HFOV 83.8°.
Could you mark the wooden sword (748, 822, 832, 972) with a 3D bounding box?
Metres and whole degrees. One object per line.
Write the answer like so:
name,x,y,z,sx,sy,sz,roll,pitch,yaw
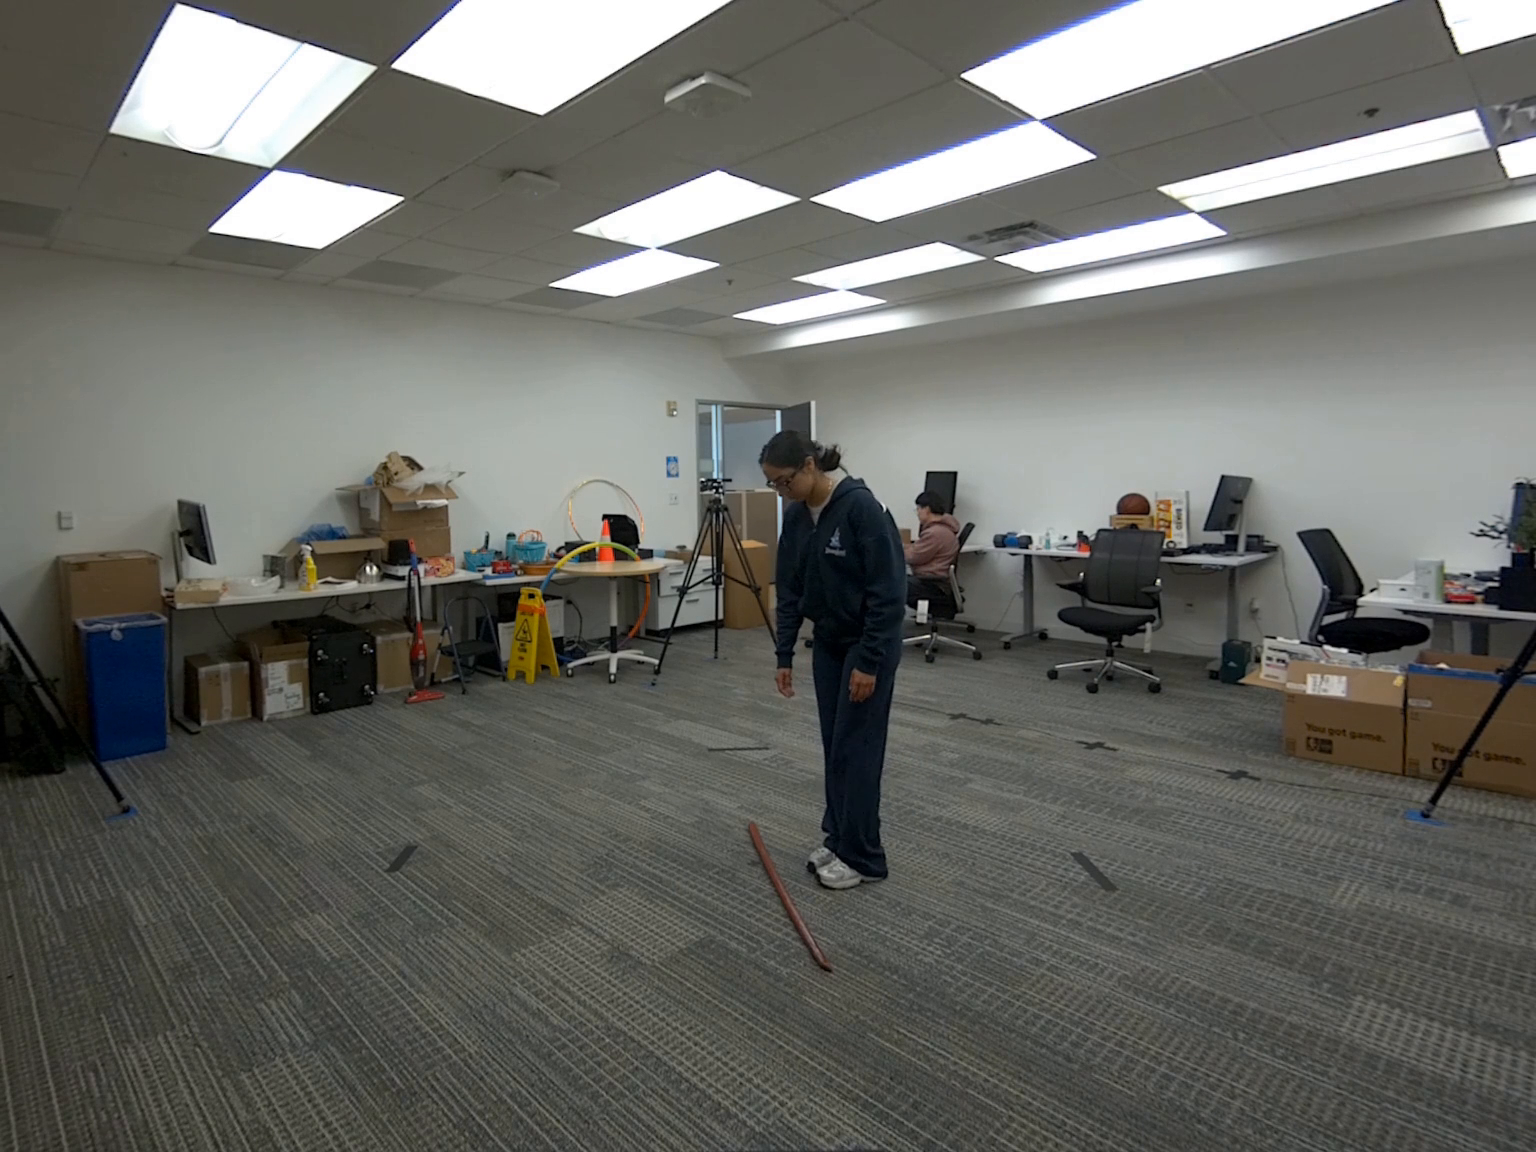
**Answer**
wooden sword,0.041,1.047,2.916,0.050,0.024,1.039,19,2,-13
